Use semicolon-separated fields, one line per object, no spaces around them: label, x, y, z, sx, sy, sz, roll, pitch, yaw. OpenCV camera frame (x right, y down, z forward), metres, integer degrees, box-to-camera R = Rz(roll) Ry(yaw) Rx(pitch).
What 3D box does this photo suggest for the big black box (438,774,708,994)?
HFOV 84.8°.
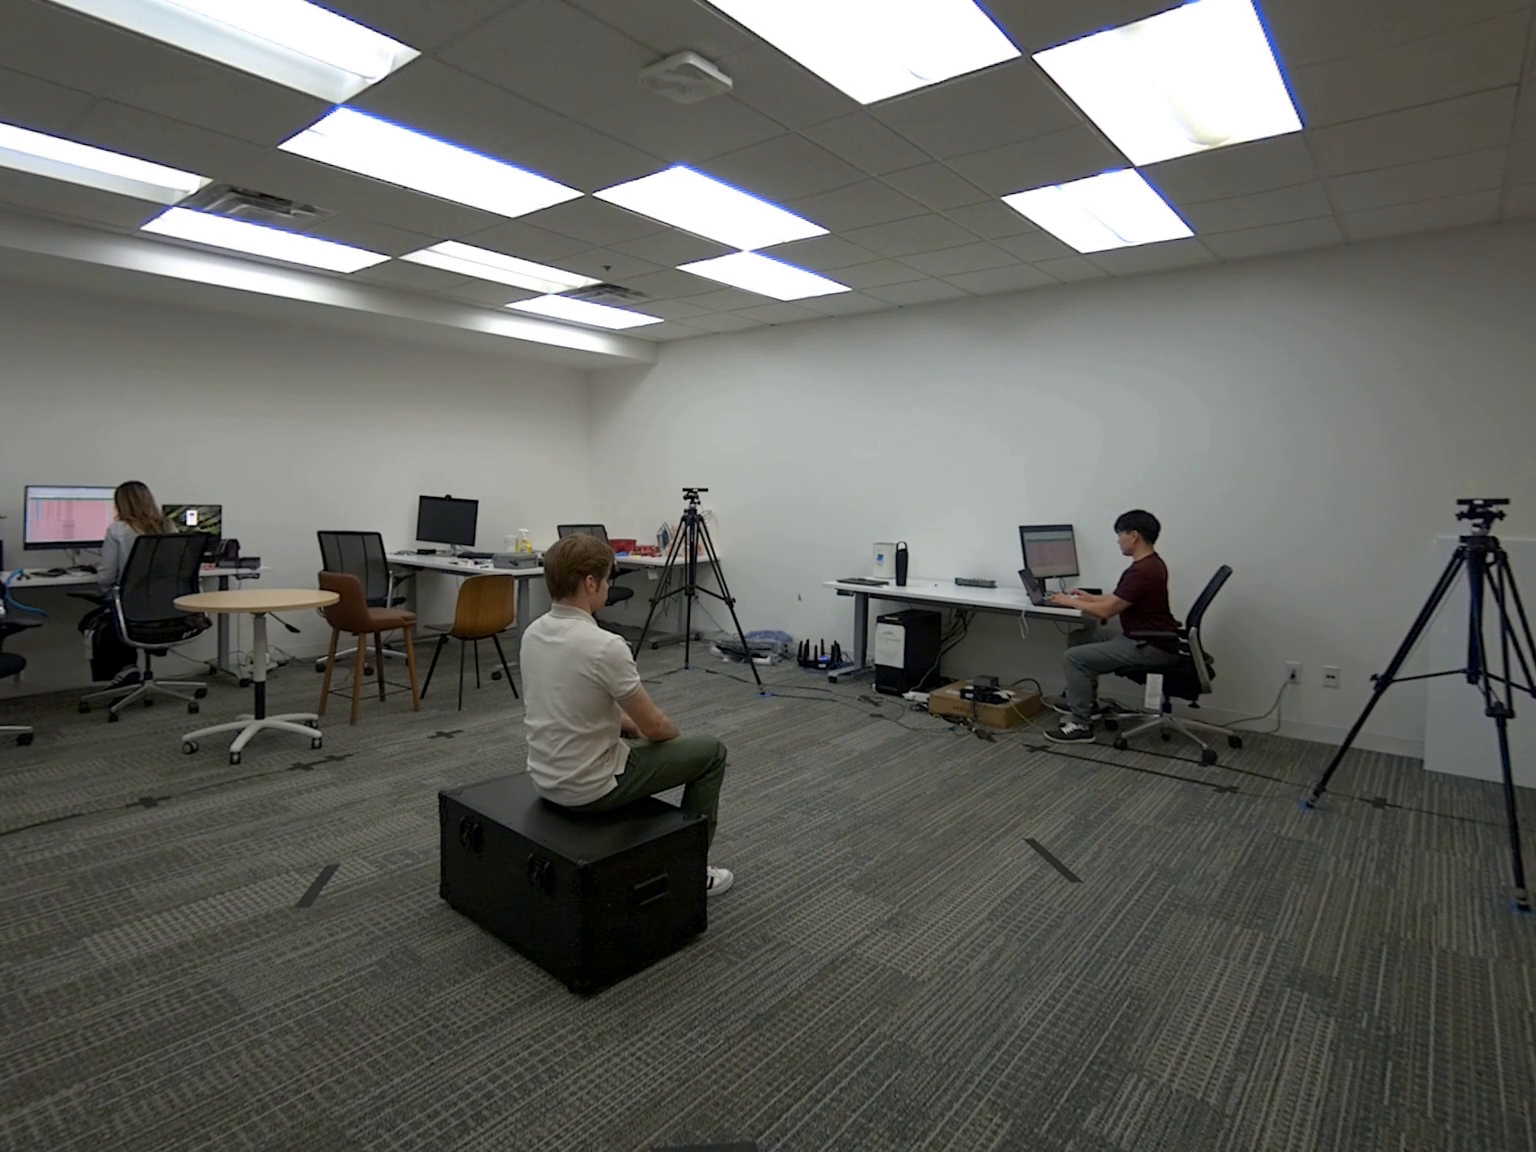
big black box;-0.670;0.906;2.742;0.898;0.383;0.508;6;8;42
